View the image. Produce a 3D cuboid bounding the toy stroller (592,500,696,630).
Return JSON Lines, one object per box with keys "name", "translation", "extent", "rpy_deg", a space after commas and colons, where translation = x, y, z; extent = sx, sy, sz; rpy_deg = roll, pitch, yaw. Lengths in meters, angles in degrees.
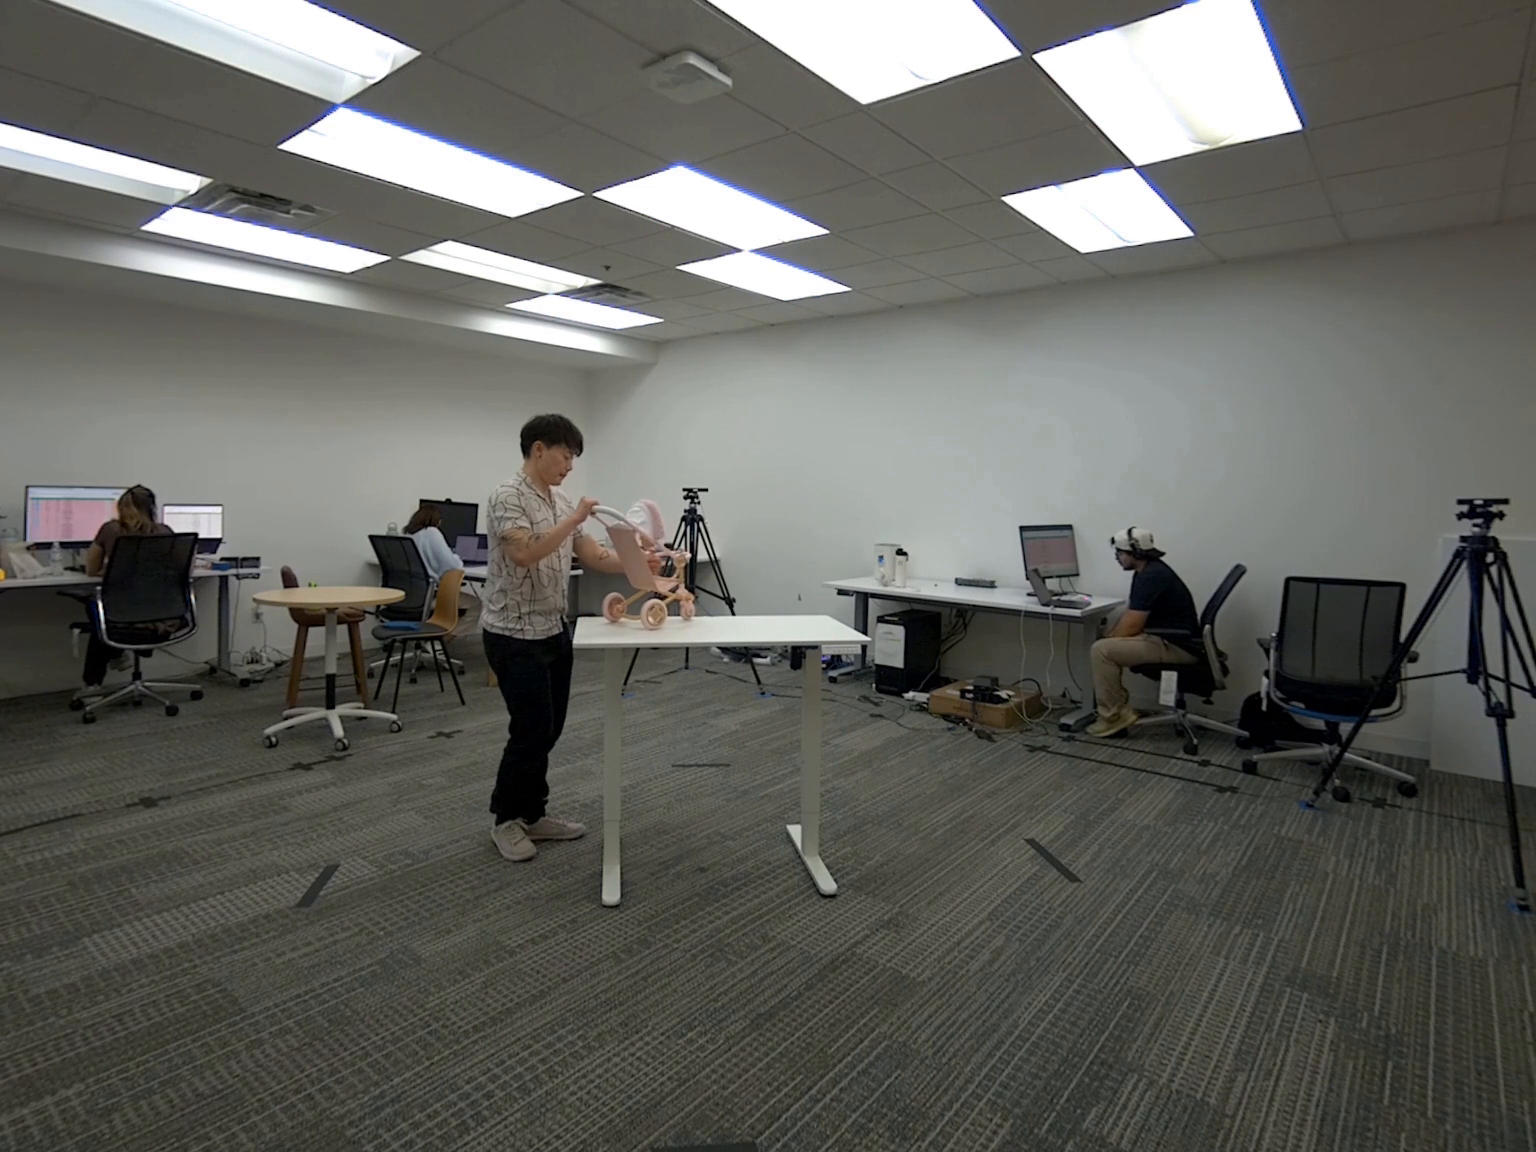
{"name": "toy stroller", "translation": [-0.461, -0.045, 3.170], "extent": [0.335, 0.528, 0.291], "rpy_deg": [-20, 15, -35]}
